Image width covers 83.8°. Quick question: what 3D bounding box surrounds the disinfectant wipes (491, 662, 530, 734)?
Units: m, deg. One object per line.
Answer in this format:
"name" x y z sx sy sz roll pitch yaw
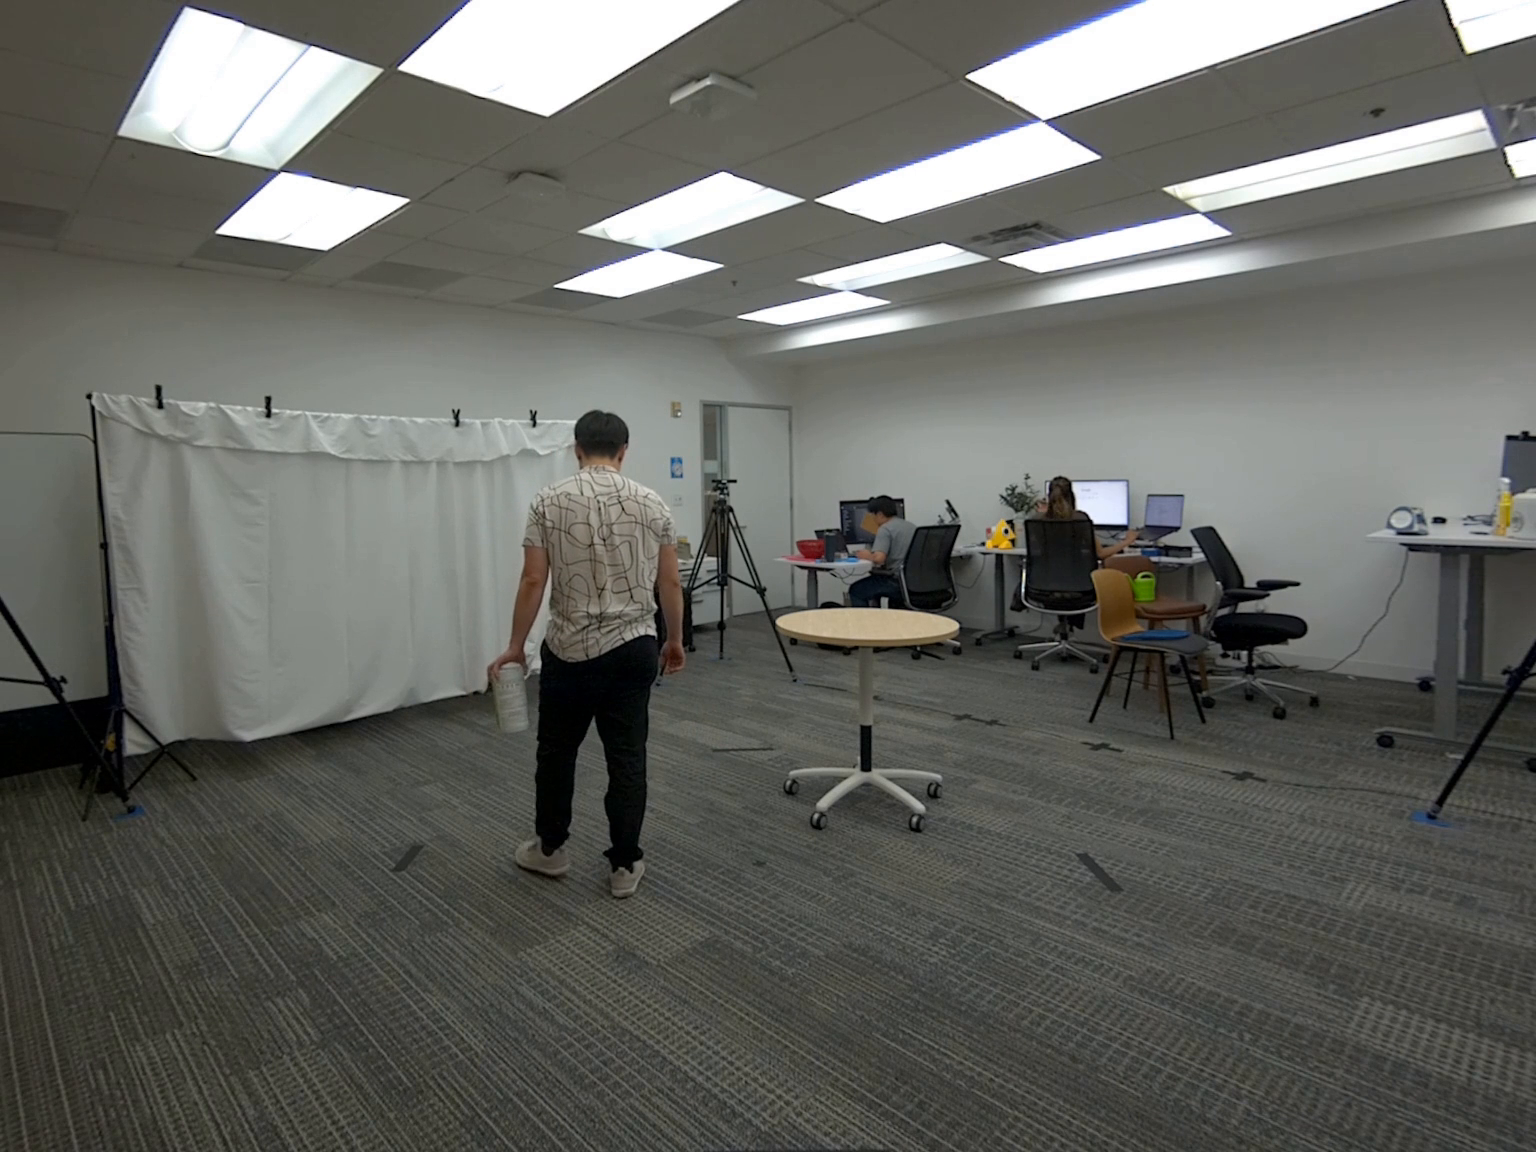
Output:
"disinfectant wipes" -0.870 0.416 2.899 0.118 0.217 0.118 -9 2 -1
